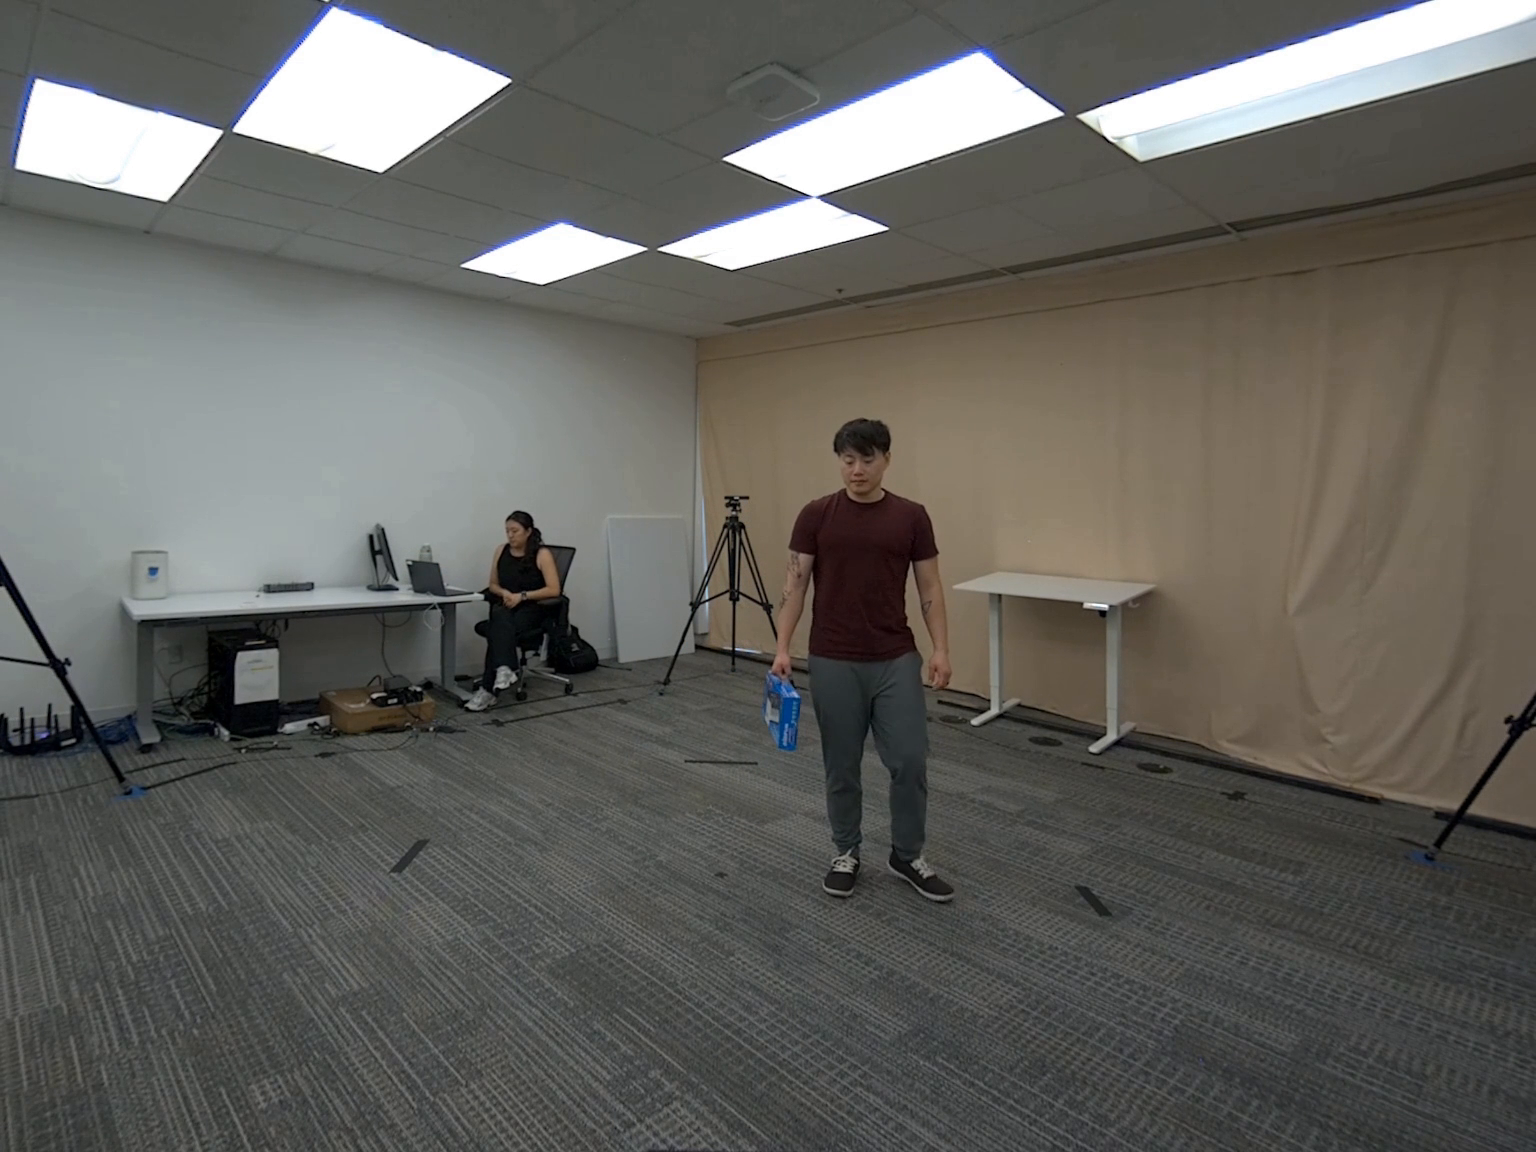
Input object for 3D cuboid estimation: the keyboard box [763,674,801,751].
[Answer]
[{"bbox_3d":[0.041,0.458,2.930,0.059,0.176,0.440,5,3,-8],"label":"keyboard box"}]
